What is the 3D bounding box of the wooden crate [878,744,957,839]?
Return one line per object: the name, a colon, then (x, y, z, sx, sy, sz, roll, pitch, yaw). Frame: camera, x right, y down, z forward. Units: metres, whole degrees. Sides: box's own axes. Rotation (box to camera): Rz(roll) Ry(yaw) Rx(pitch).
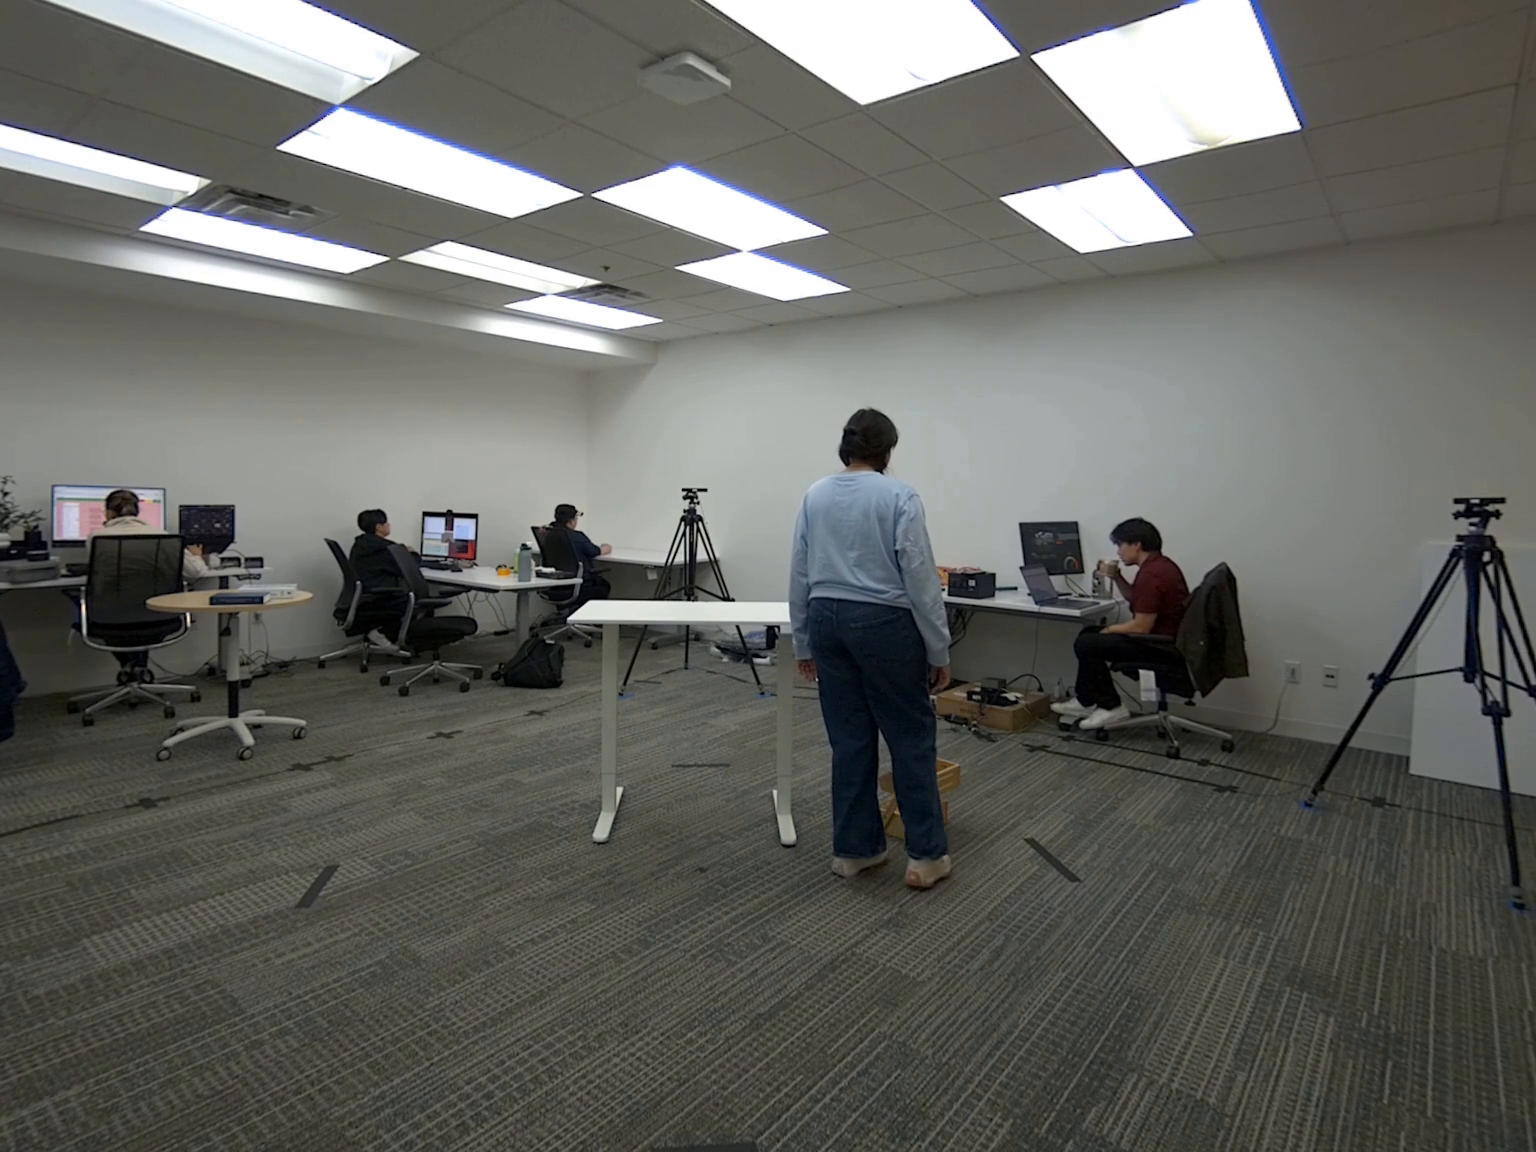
wooden crate: (0.576, 0.898, 3.567, 0.312, 0.272, 0.315, 6, 7, 42)
